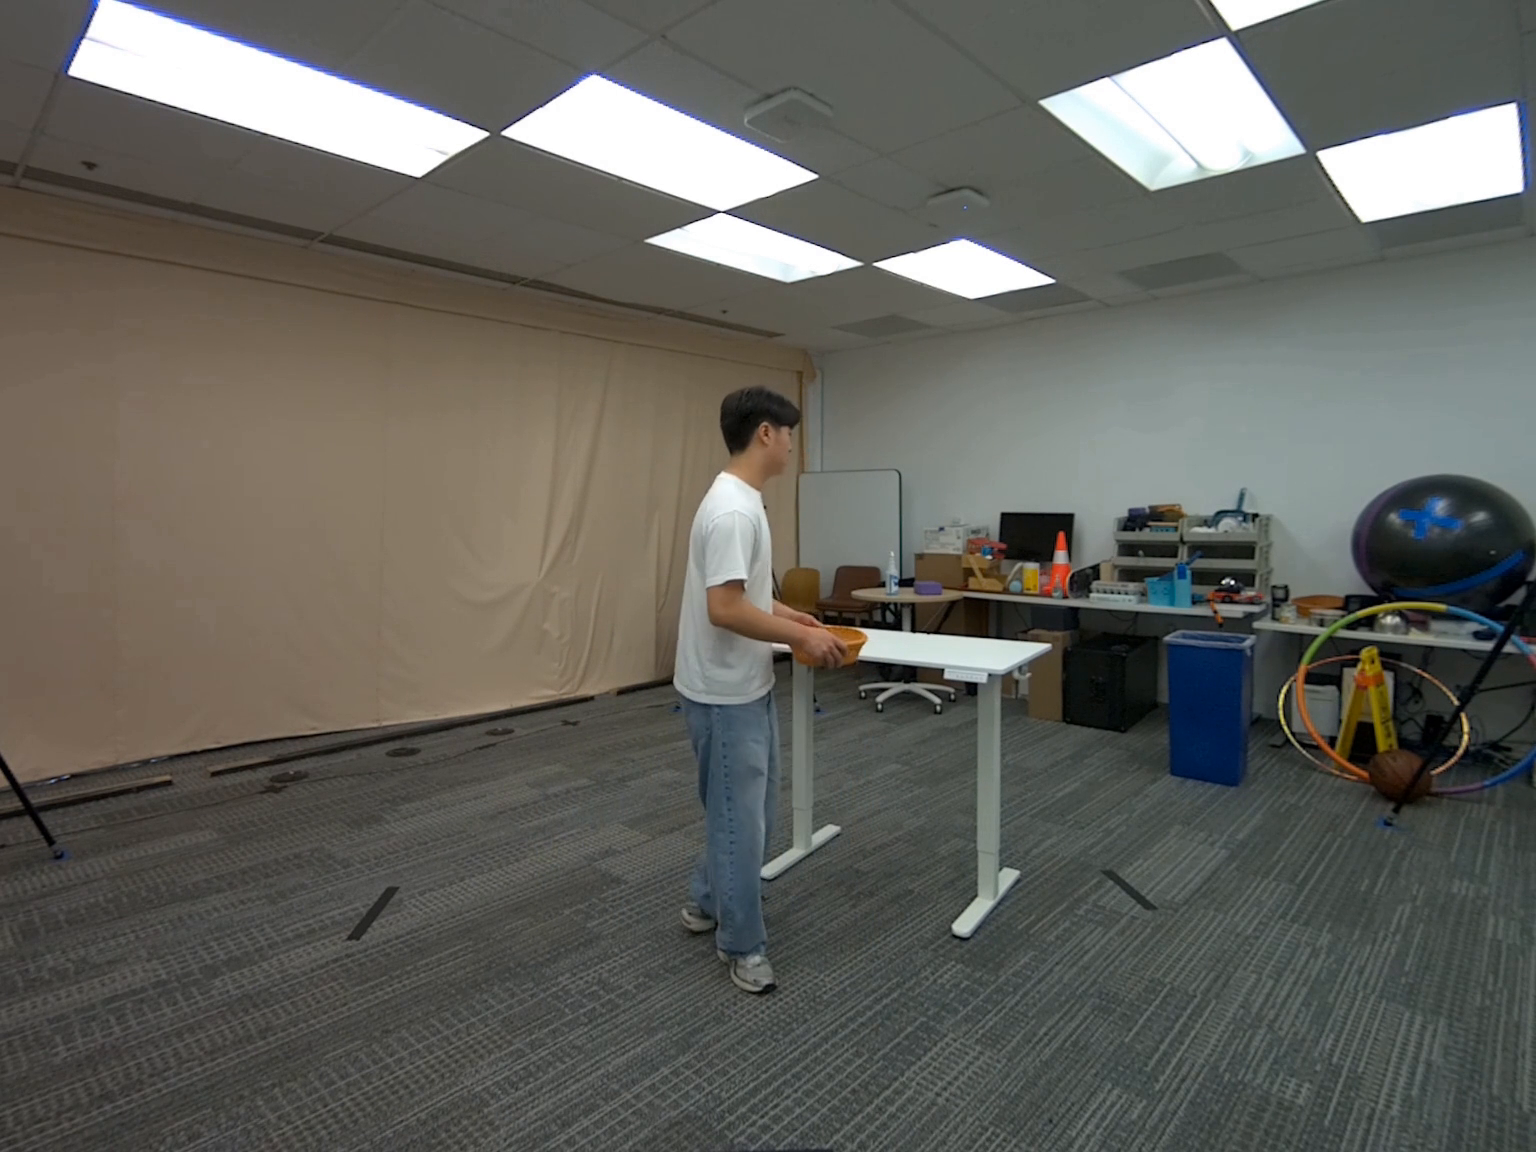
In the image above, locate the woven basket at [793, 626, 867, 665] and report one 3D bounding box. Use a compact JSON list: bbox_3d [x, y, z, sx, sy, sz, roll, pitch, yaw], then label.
[{"bbox_3d":[0.140,0.218,2.501,0.255,0.073,0.347,-2,5,10],"label":"woven basket"}]
